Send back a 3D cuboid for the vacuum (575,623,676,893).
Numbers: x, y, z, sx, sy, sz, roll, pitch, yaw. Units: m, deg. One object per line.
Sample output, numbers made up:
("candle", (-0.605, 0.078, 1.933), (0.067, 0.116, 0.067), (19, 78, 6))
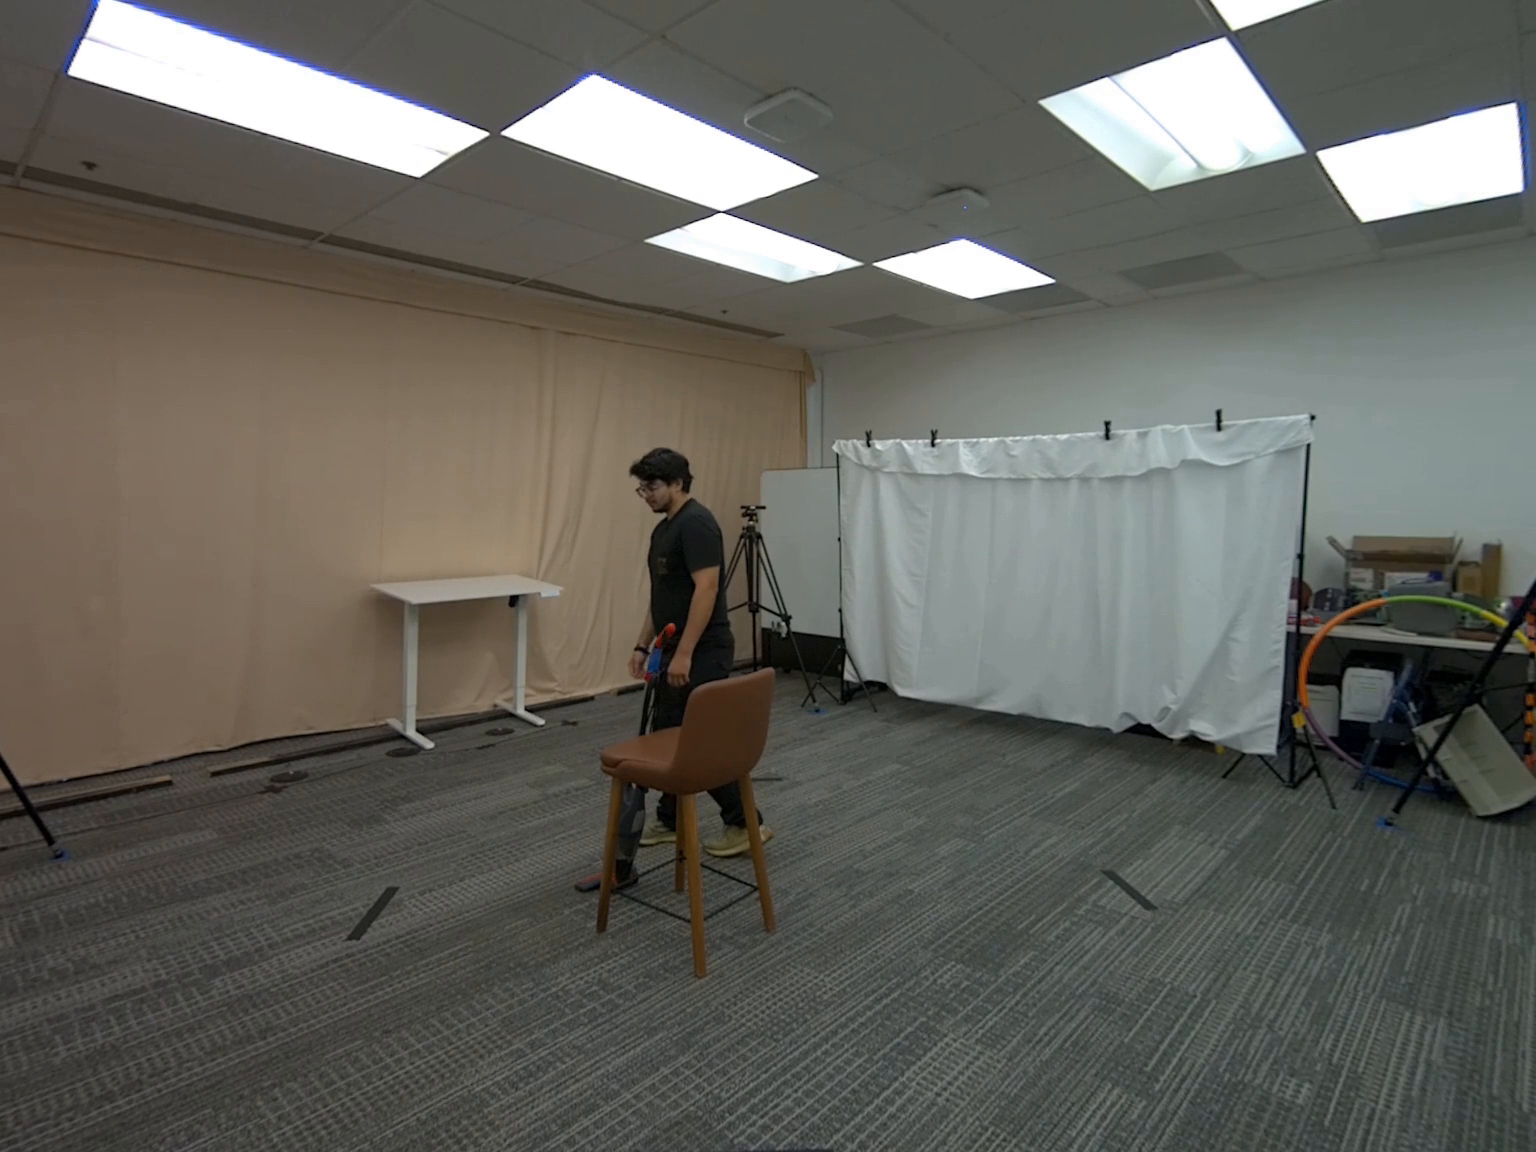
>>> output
("vacuum", (-0.451, 0.655, 2.966), (0.149, 1.043, 0.245), (29, 21, 38))
